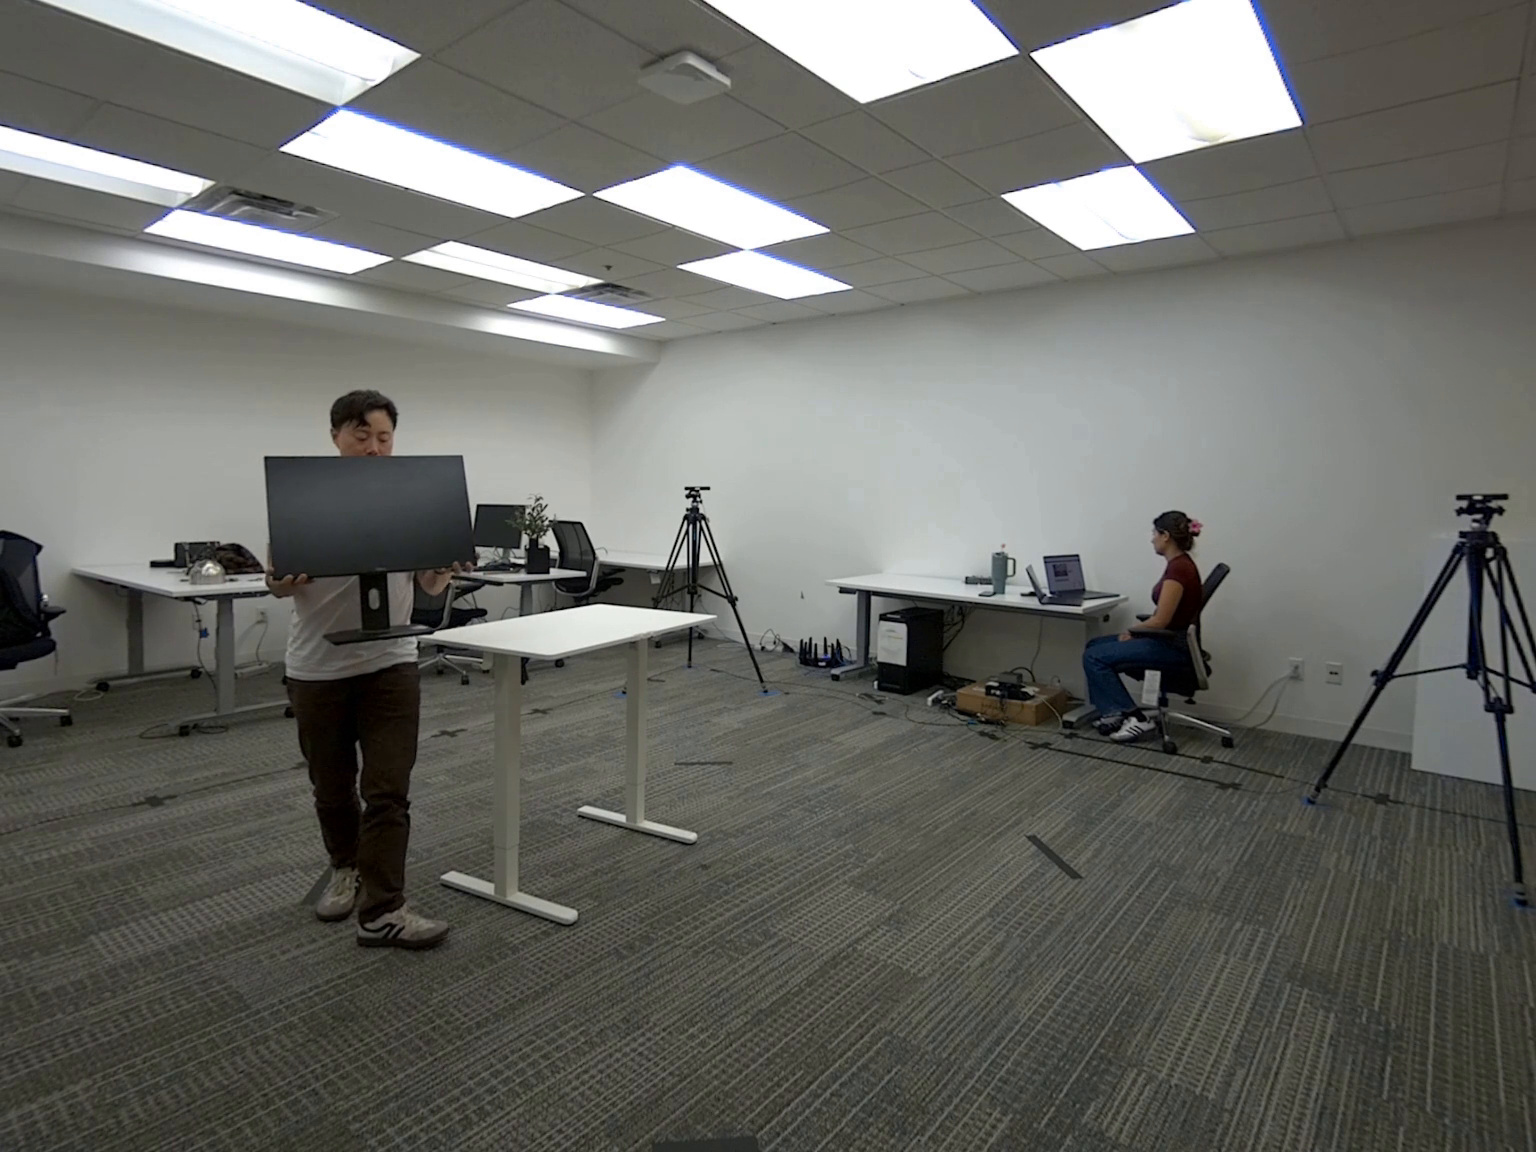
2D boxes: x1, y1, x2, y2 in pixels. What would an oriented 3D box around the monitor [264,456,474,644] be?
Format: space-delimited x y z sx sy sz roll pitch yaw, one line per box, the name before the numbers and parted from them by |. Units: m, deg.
monitor | -1.141 -0.086 2.426 0.525 0.524 0.192 -4 -2 -32
